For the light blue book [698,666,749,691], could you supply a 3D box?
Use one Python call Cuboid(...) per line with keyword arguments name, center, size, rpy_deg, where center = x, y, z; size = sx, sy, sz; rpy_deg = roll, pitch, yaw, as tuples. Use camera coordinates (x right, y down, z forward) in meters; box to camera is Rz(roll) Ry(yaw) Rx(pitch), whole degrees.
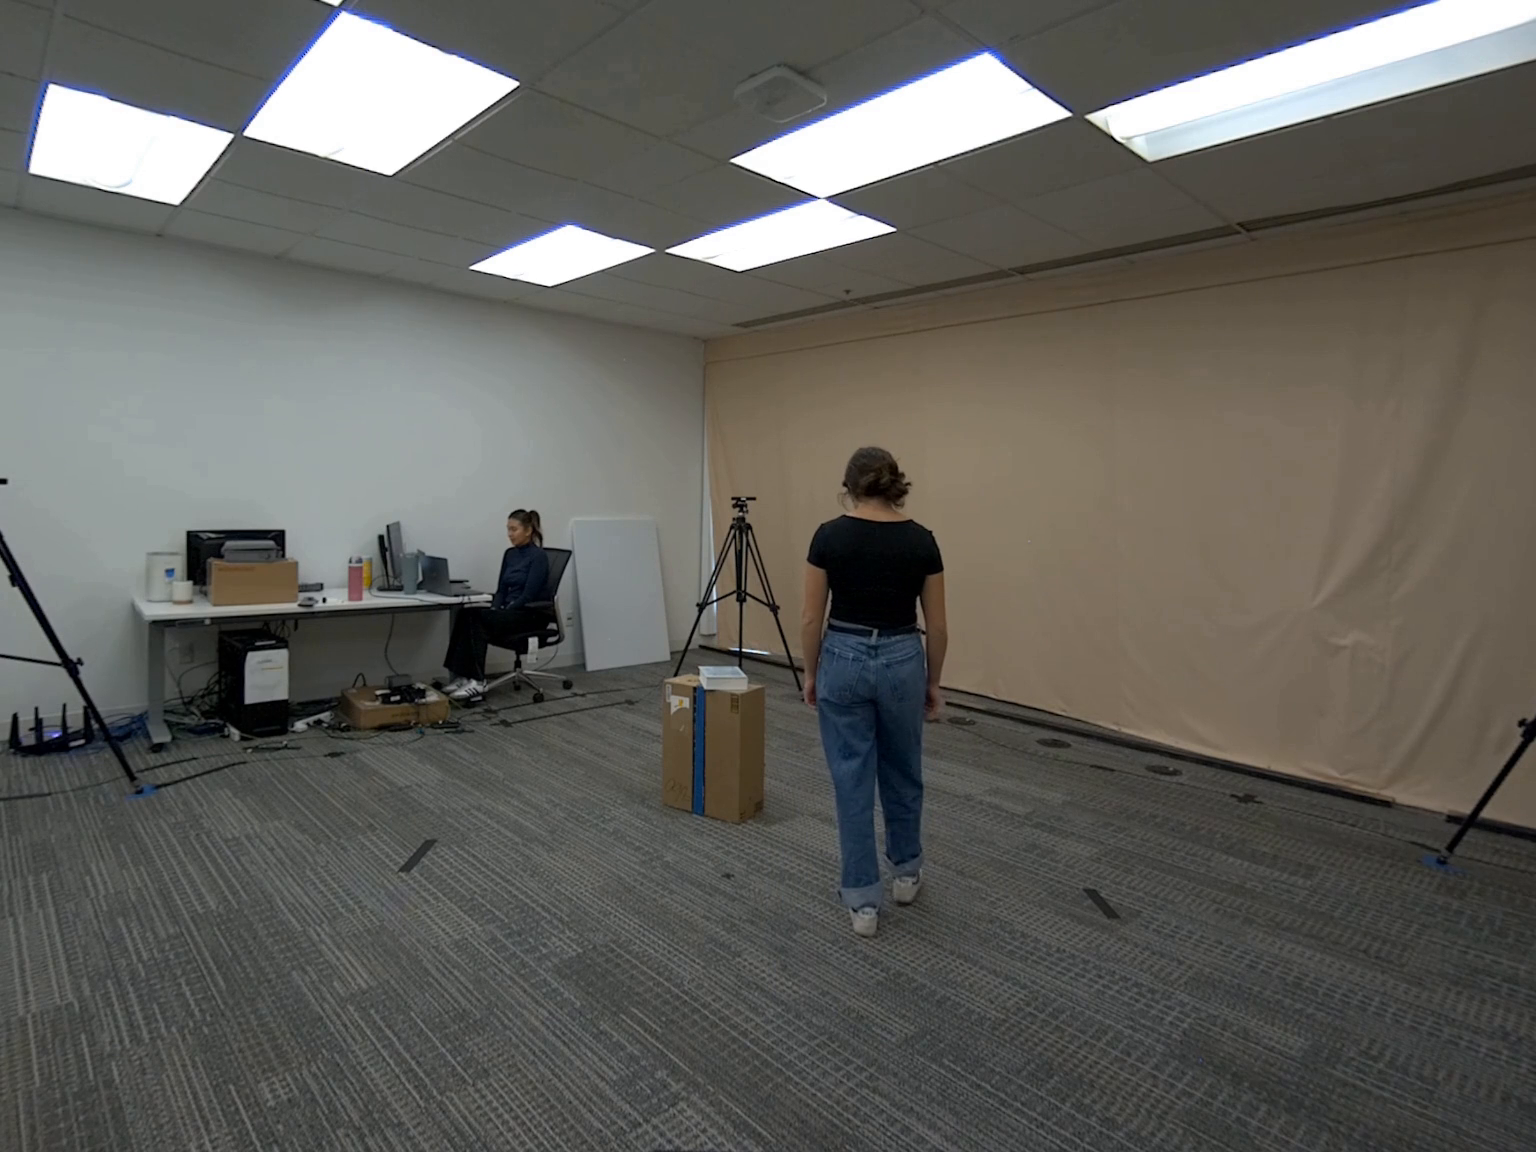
Cuboid(name="light blue book", center=(-0.210, 0.456, 3.778), size=(0.190, 0.059, 0.264), rpy_deg=(1, 4, -11))
